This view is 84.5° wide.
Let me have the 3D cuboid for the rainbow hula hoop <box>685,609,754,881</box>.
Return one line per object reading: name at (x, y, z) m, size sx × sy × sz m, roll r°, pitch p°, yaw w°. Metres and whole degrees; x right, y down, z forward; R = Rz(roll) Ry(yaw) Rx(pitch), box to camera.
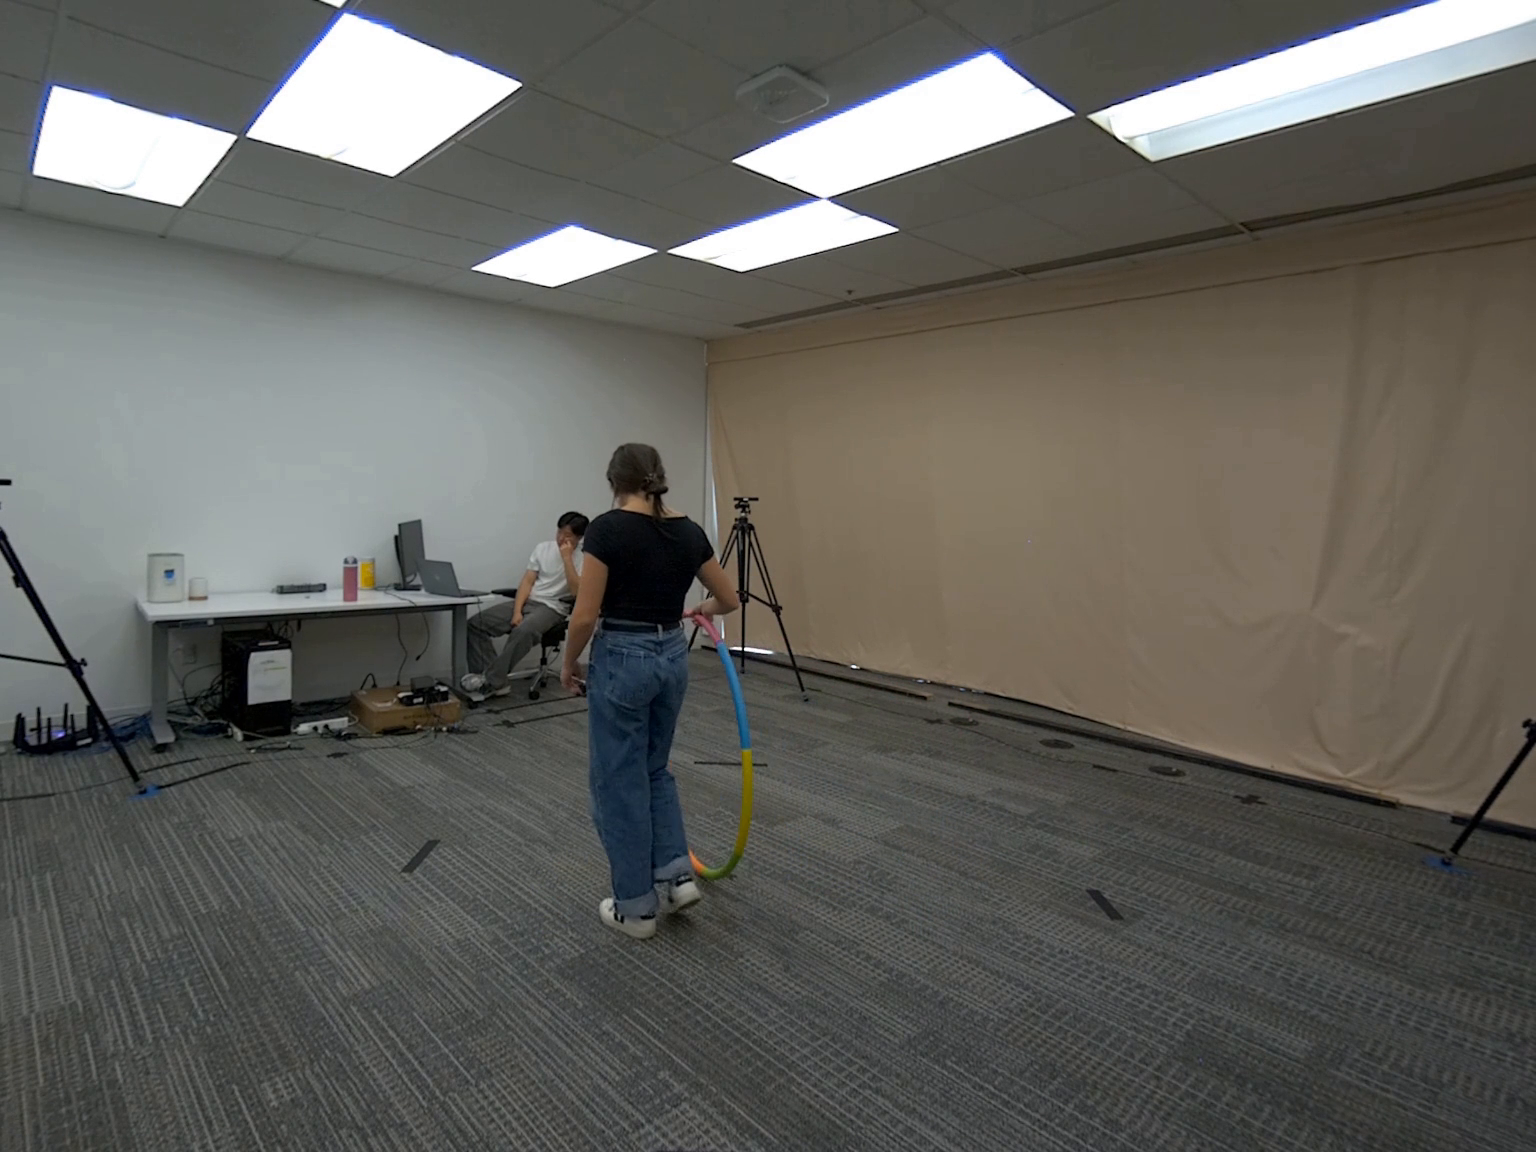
rainbow hula hoop at (-0.279, 0.618, 3.139) m, size 0.035 × 0.975 × 0.998 m, roll -2°, pitch 5°, yaw -25°
